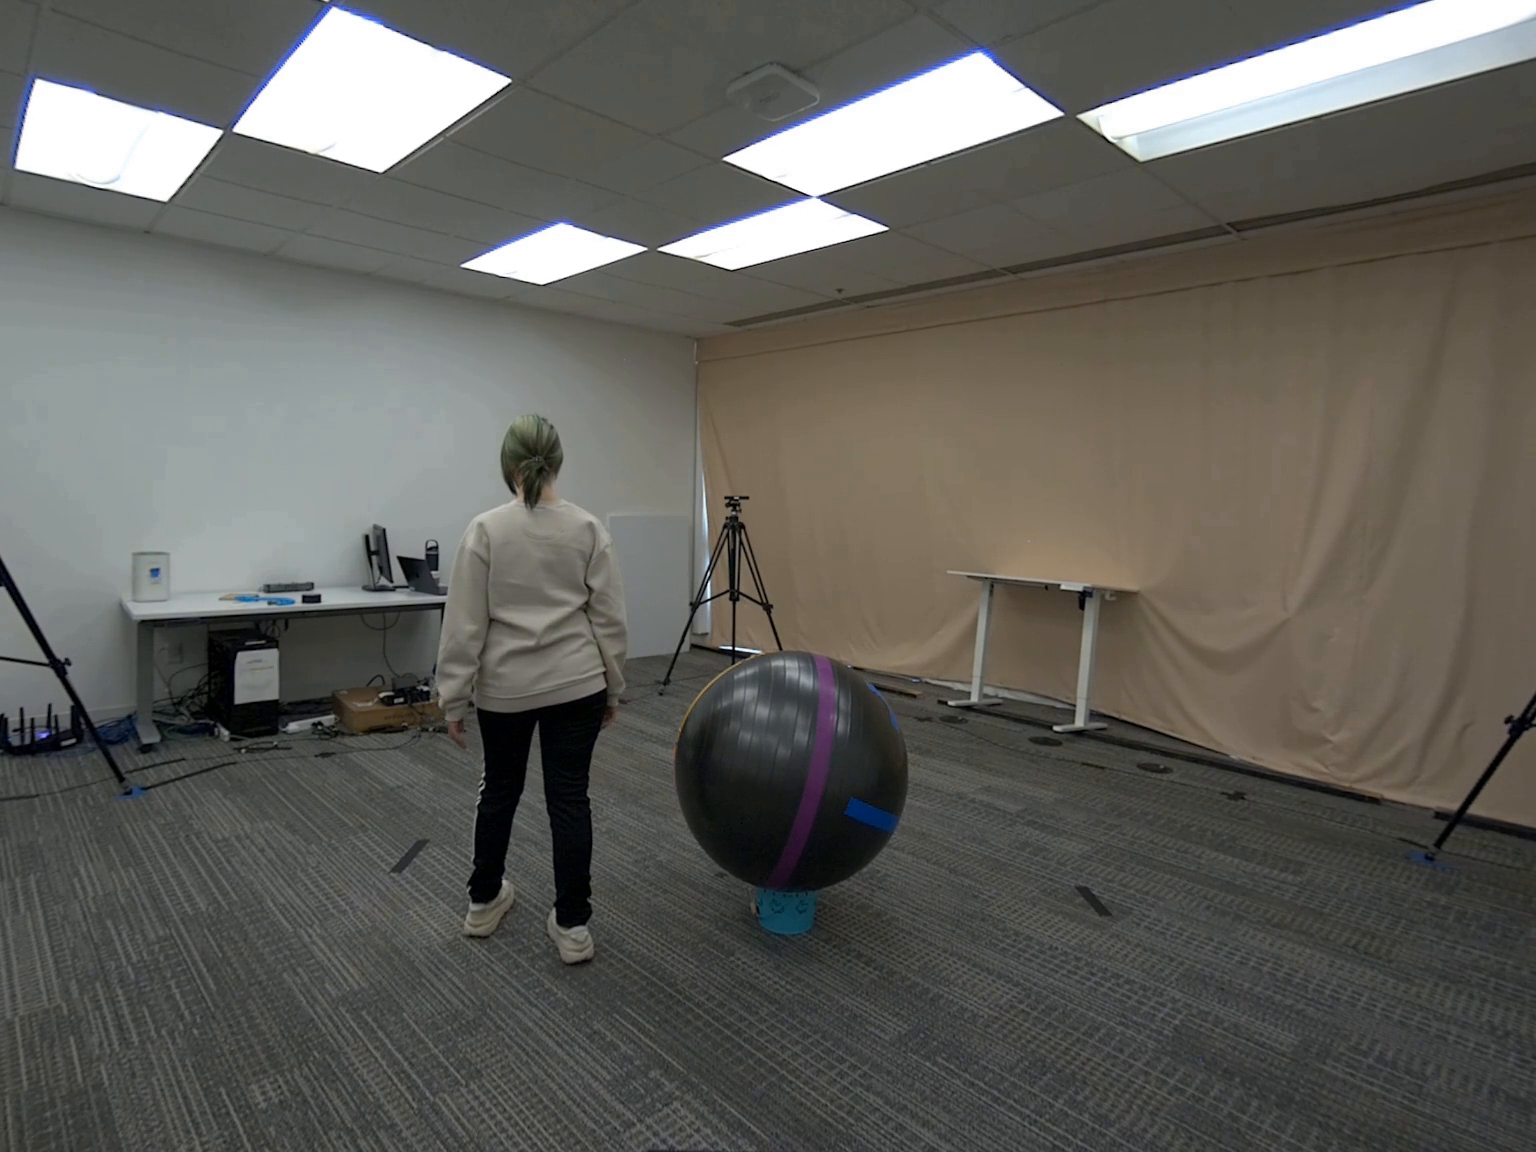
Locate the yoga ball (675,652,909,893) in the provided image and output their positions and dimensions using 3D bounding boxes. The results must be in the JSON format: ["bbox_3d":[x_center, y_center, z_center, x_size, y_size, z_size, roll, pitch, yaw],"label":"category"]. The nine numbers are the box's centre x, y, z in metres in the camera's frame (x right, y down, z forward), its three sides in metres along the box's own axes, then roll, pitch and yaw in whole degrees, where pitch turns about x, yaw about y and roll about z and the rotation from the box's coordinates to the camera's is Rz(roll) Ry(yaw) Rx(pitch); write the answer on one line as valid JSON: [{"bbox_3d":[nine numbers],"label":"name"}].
[{"bbox_3d":[0.067,0.630,2.751,0.757,0.756,0.761,1,4,-1],"label":"yoga ball"}]
